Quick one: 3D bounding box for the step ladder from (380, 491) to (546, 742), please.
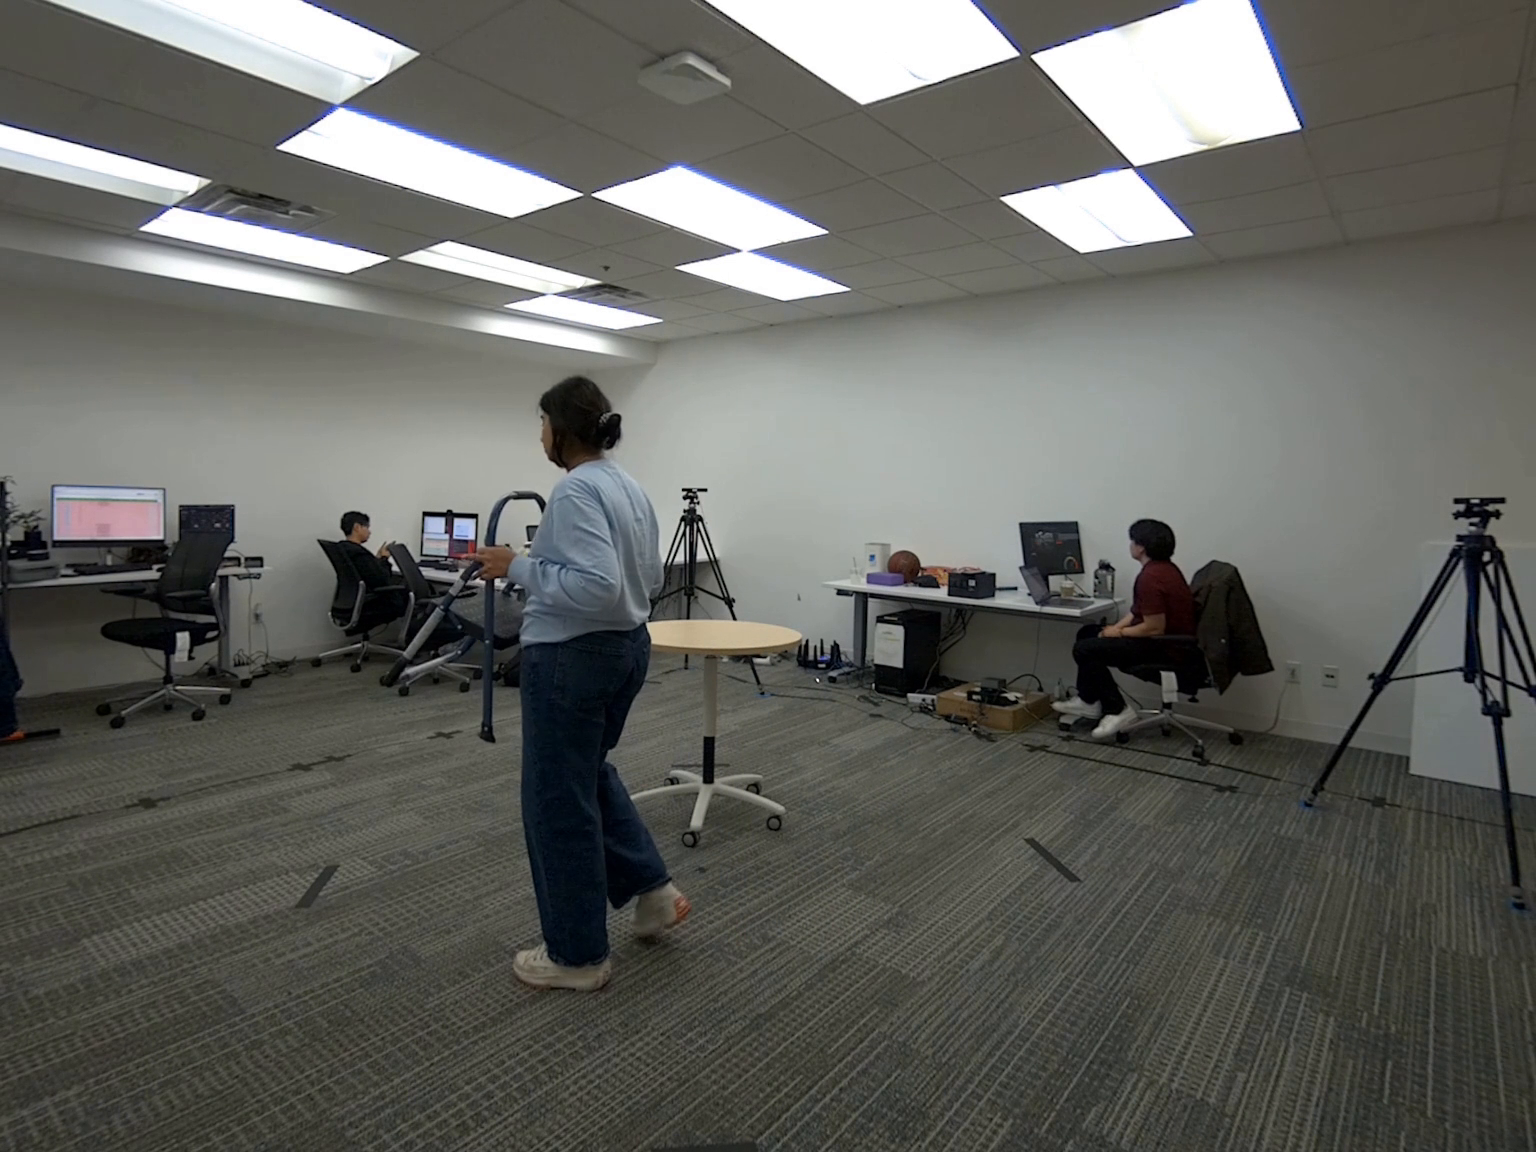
[{"bbox_3d":[-0.751,0.069,2.425,0.352,0.604,0.429,23,7,5],"label":"step ladder"}]
